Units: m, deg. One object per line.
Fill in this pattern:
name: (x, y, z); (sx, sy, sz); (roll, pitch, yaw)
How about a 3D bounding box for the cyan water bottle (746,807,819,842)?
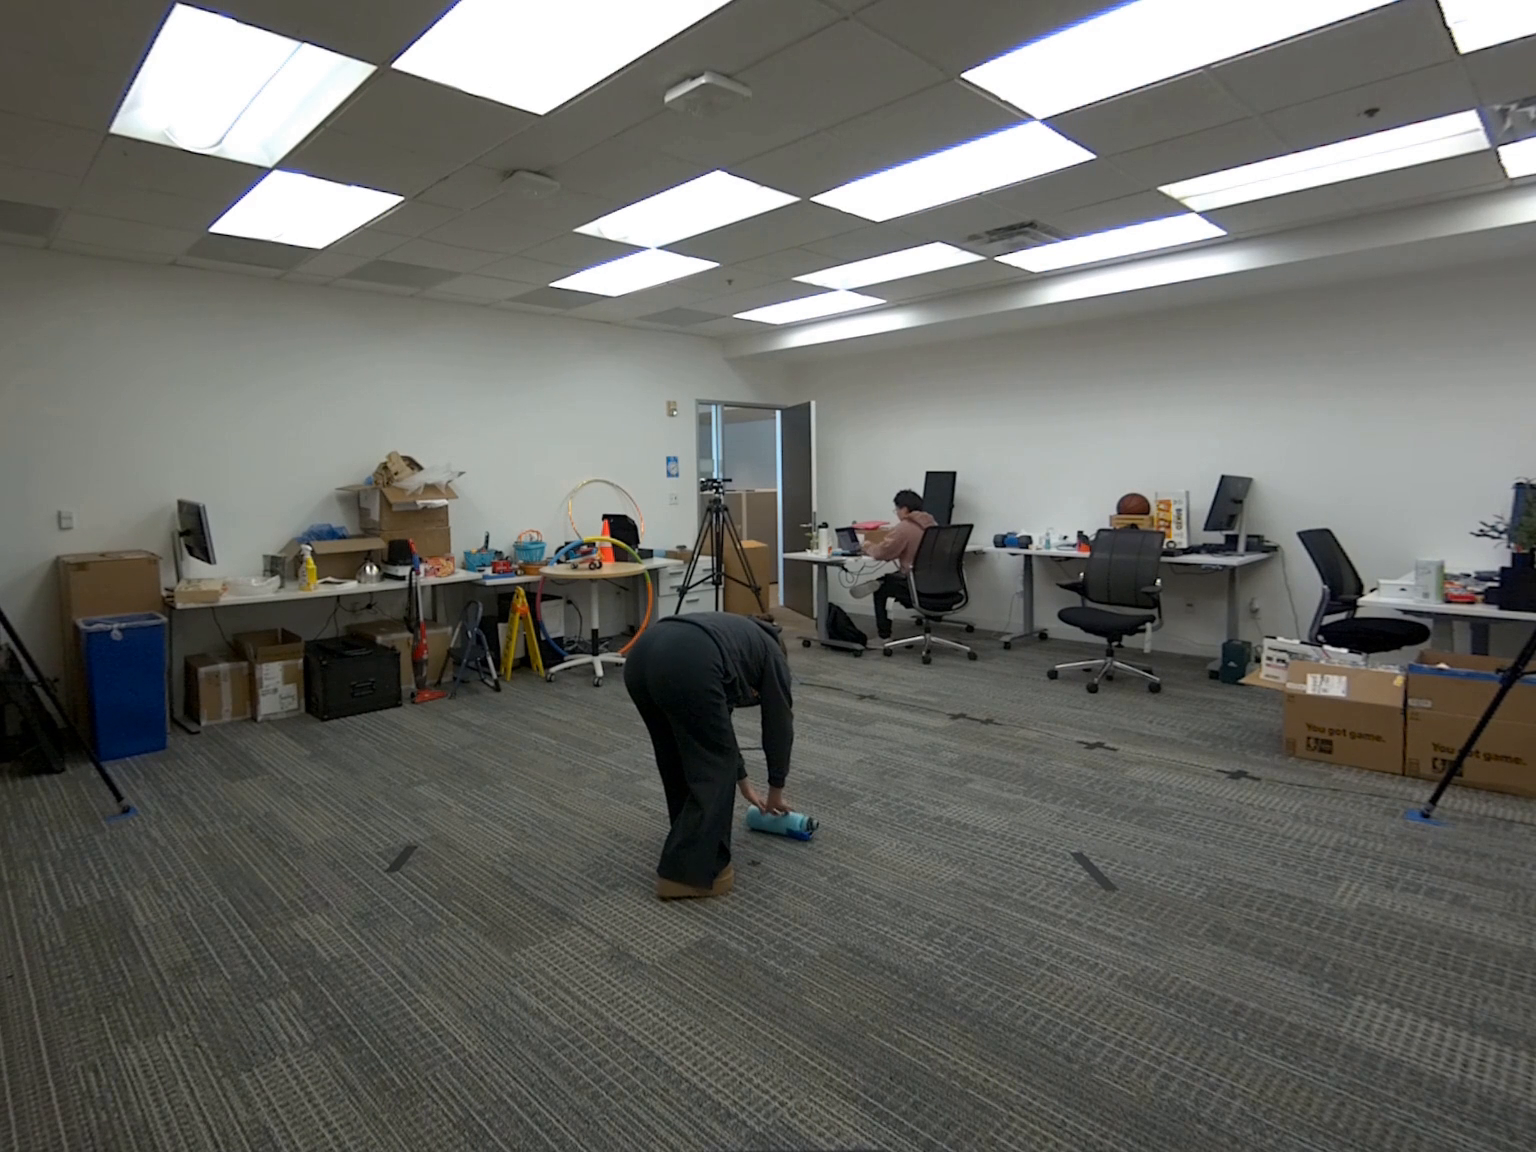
cyan water bottle: (0.060, 0.971, 3.347); (0.290, 0.092, 0.090); (3, 5, 28)
